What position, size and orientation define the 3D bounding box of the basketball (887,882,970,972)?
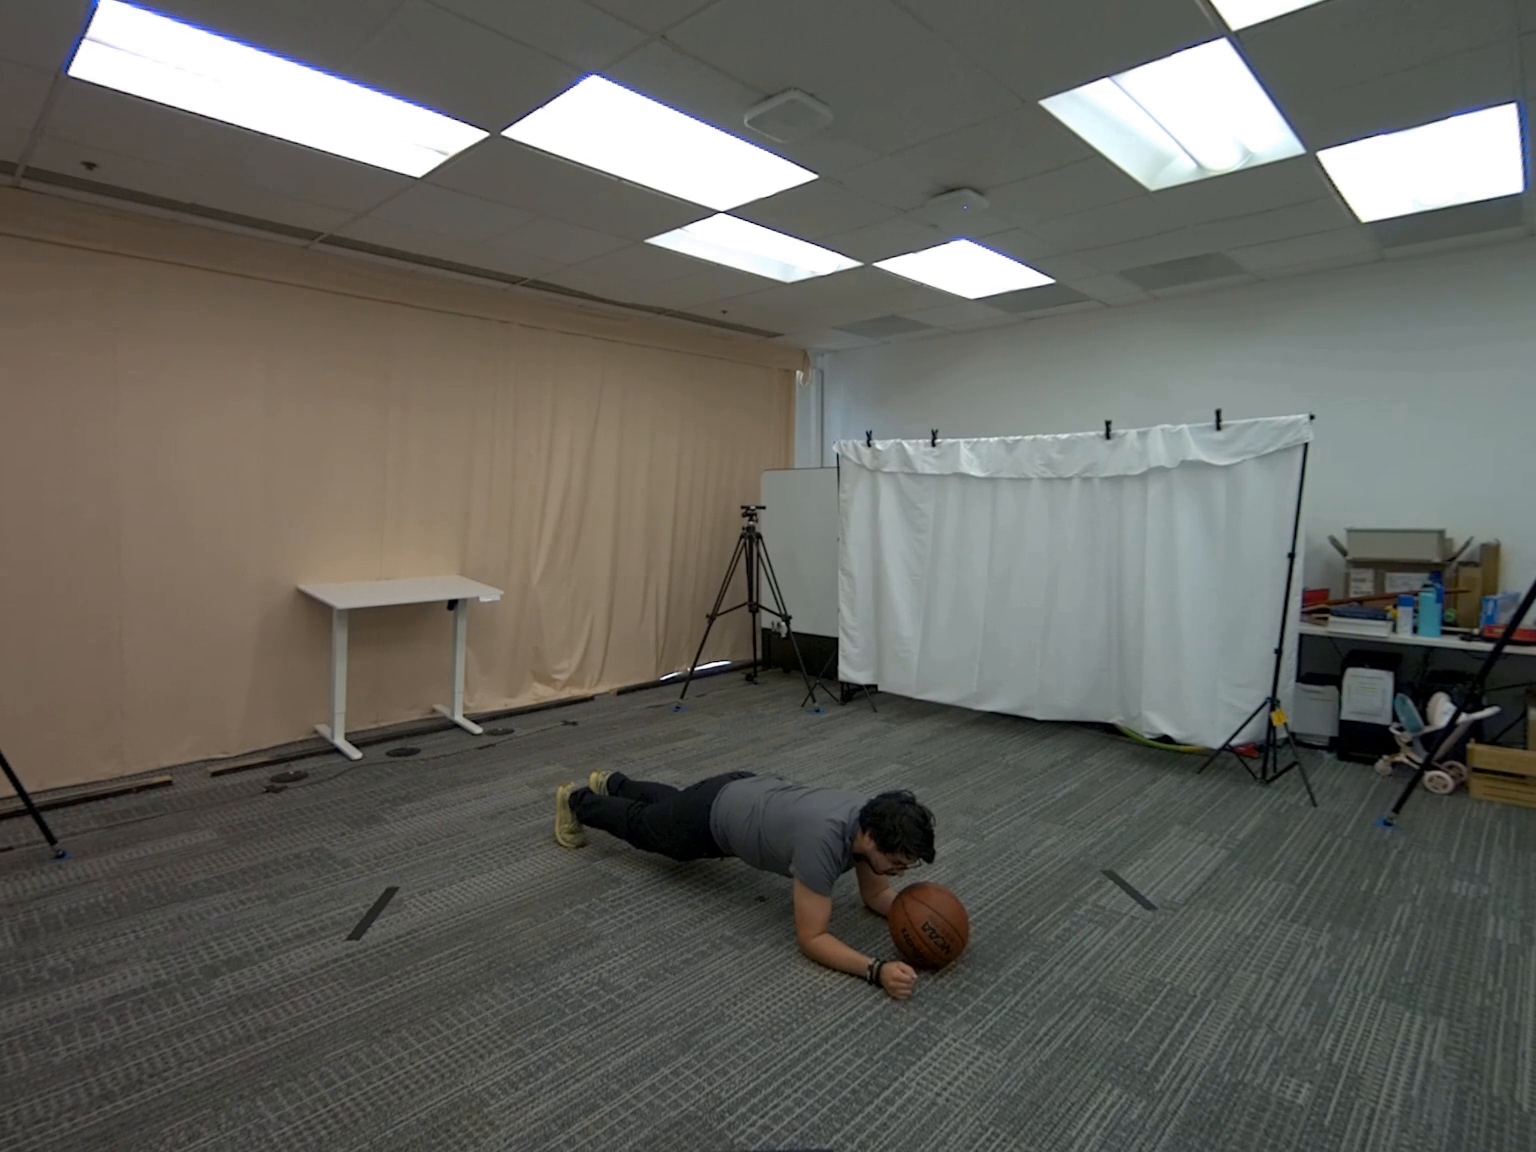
[{"bbox_3d":[0.496,1.058,2.562,0.236,0.235,0.237,0,4,-2],"label":"basketball"}]
